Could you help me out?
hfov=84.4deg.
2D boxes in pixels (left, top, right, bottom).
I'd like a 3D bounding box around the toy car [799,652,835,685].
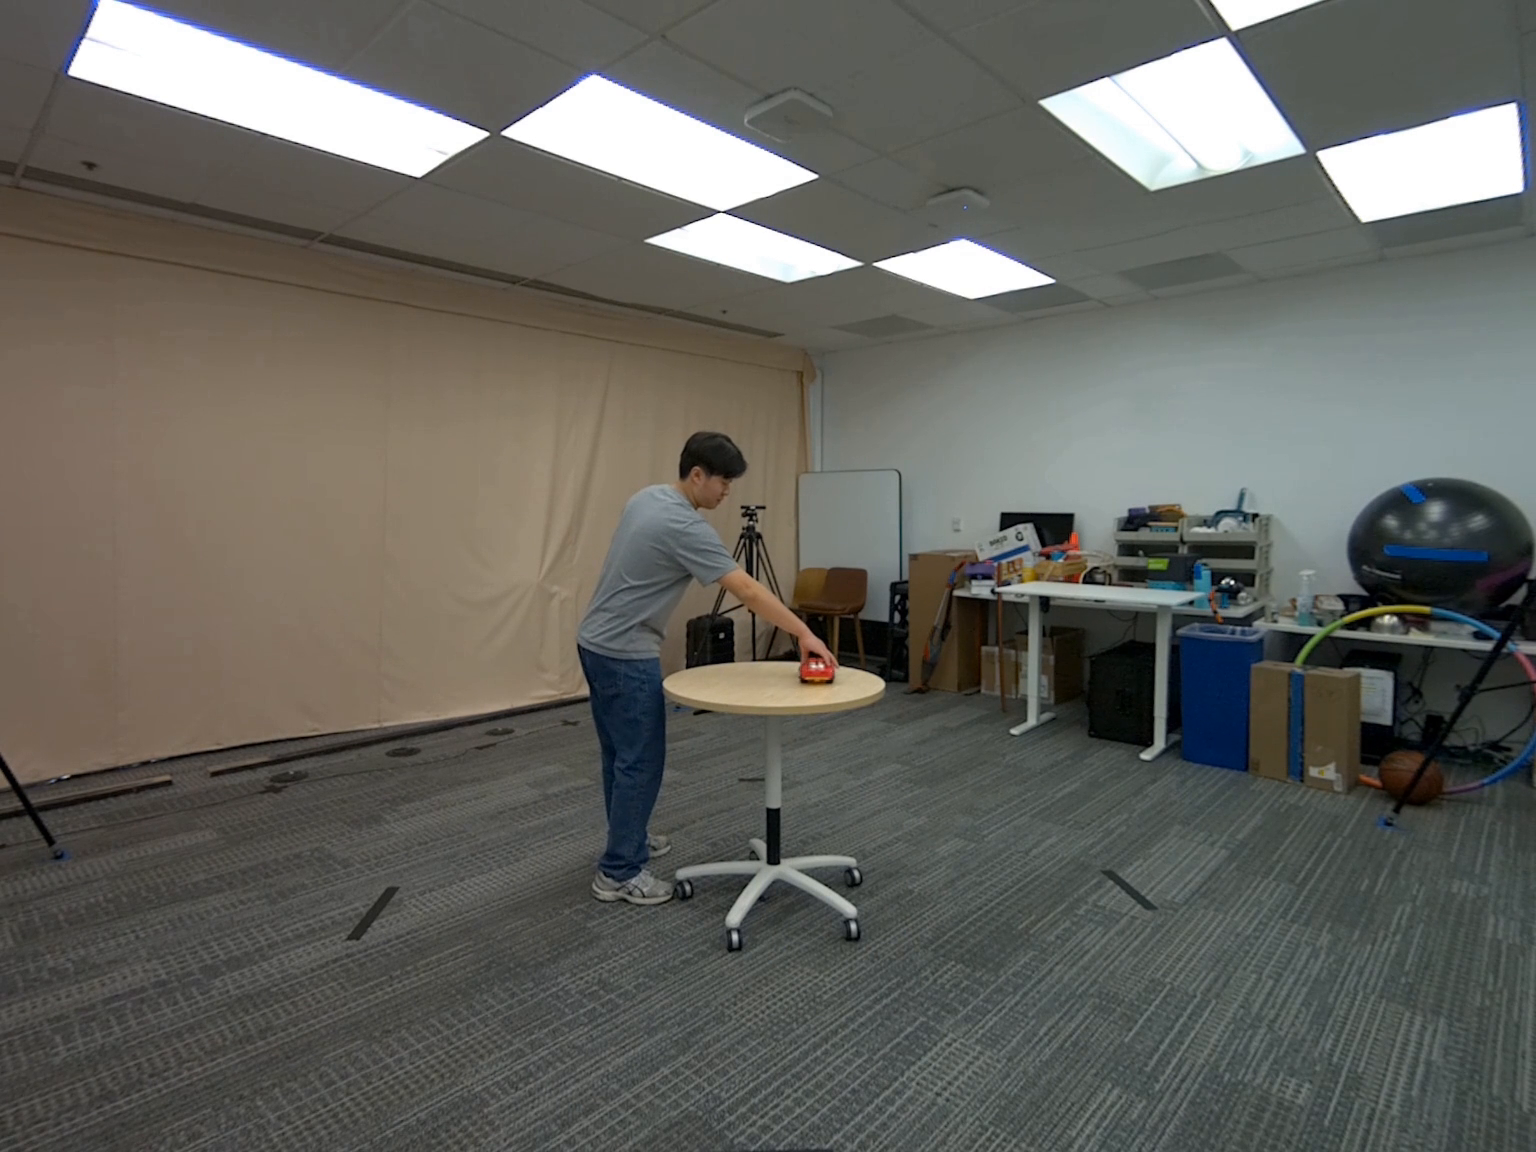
[{"bbox_3d":[0.171,0.332,2.936,0.131,0.083,0.252,2,-6,4],"label":"toy car"}]
